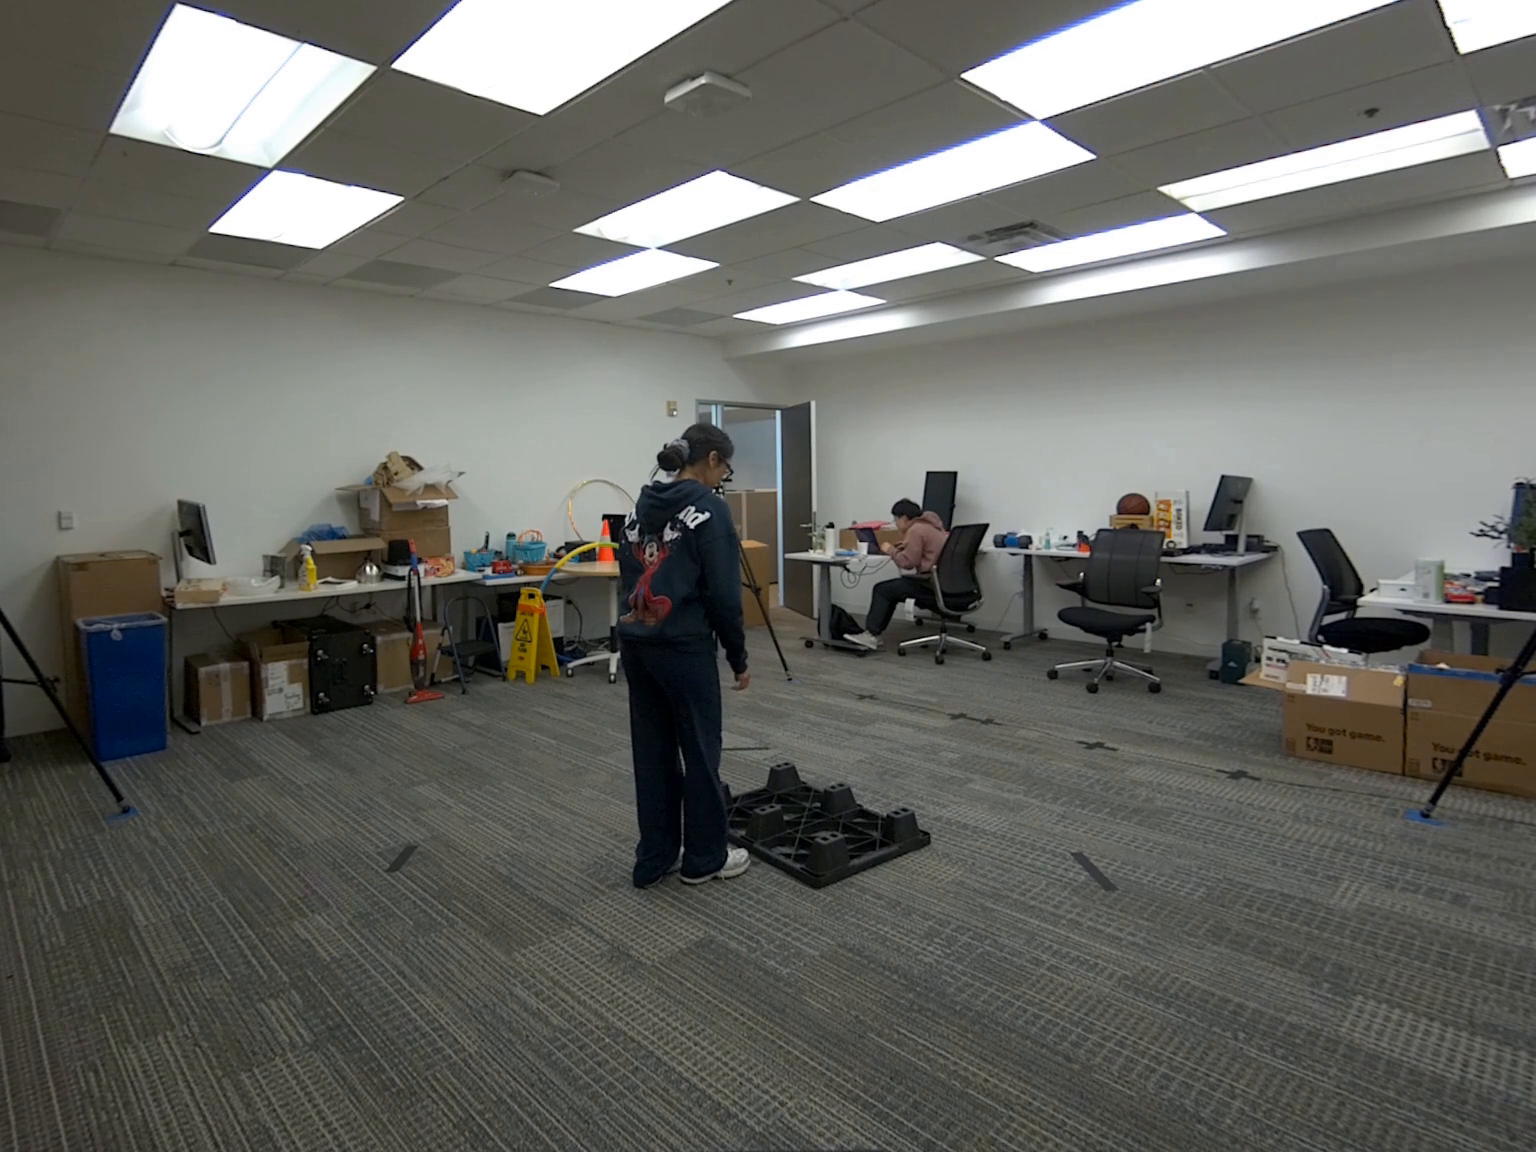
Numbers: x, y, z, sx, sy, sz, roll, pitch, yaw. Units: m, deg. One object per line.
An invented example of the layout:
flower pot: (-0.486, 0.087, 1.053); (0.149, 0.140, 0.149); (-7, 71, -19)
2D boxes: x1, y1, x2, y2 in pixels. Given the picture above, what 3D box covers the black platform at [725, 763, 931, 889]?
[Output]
black platform: (0.134, 0.938, 3.378); (0.589, 0.143, 0.830); (-5, 7, -38)
